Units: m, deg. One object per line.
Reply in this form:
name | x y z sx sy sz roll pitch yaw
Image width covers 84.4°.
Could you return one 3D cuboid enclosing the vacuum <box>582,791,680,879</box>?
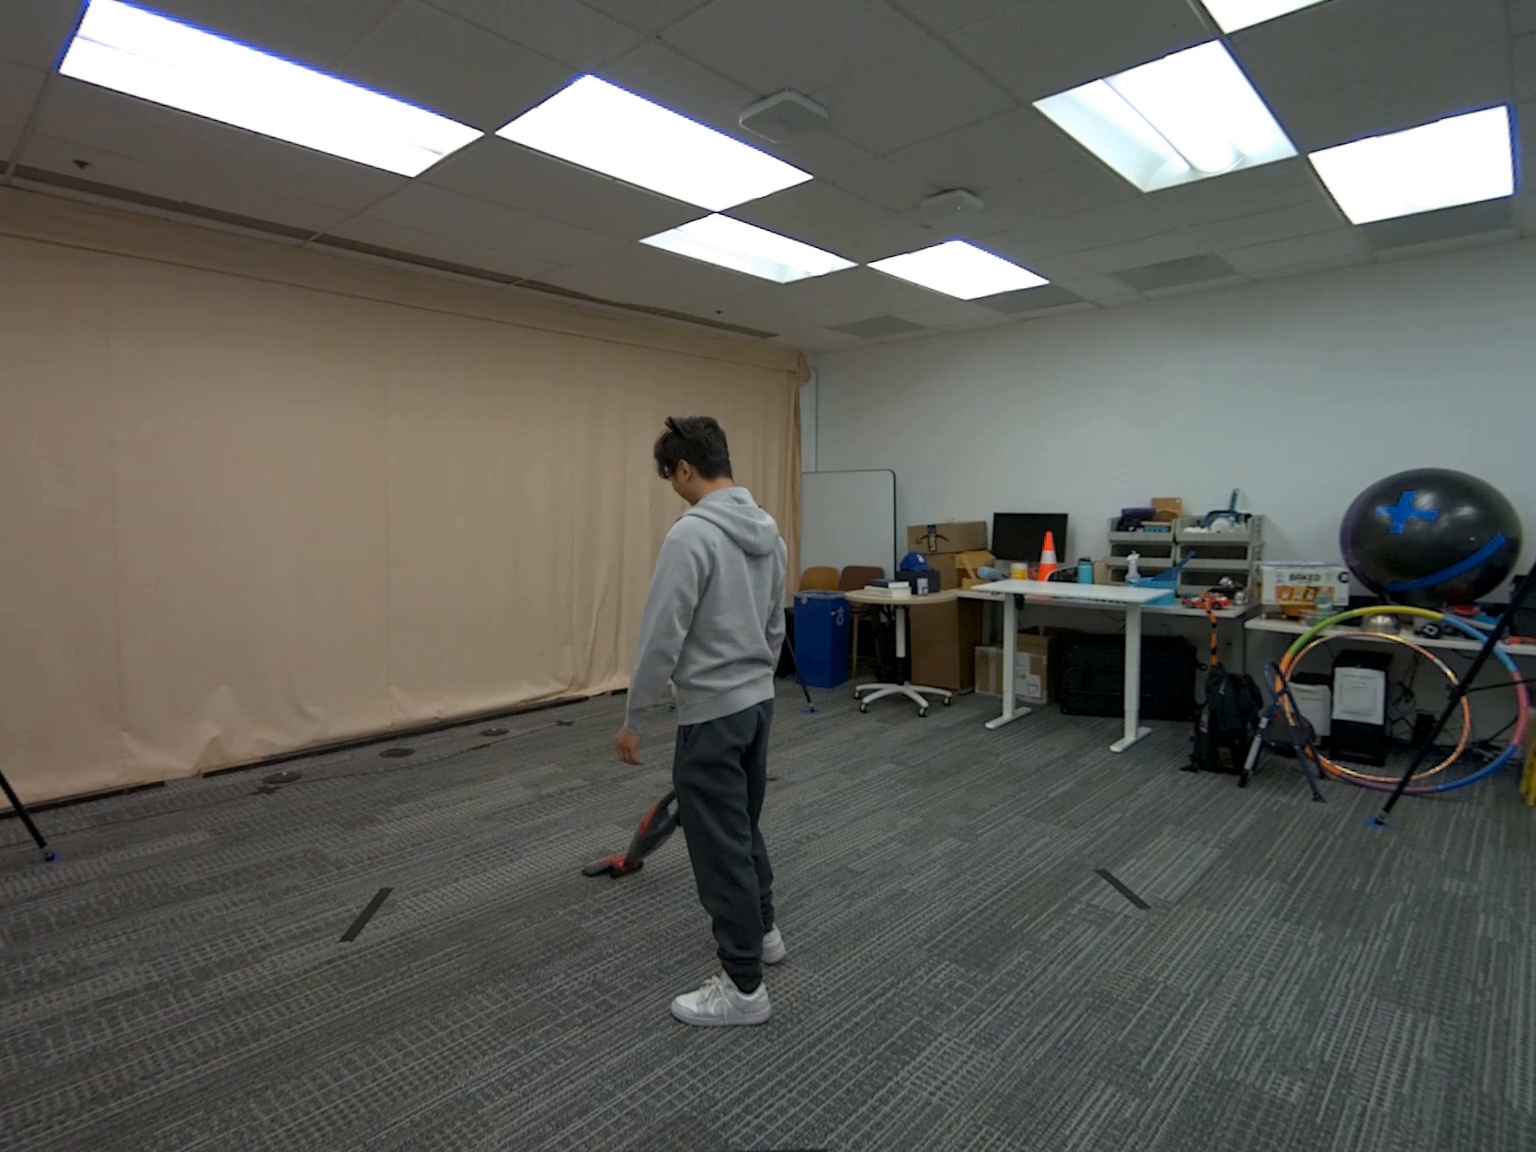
vacuum | -0.312 0.797 2.935 0.245 0.147 1.055 -10 -31 -46
